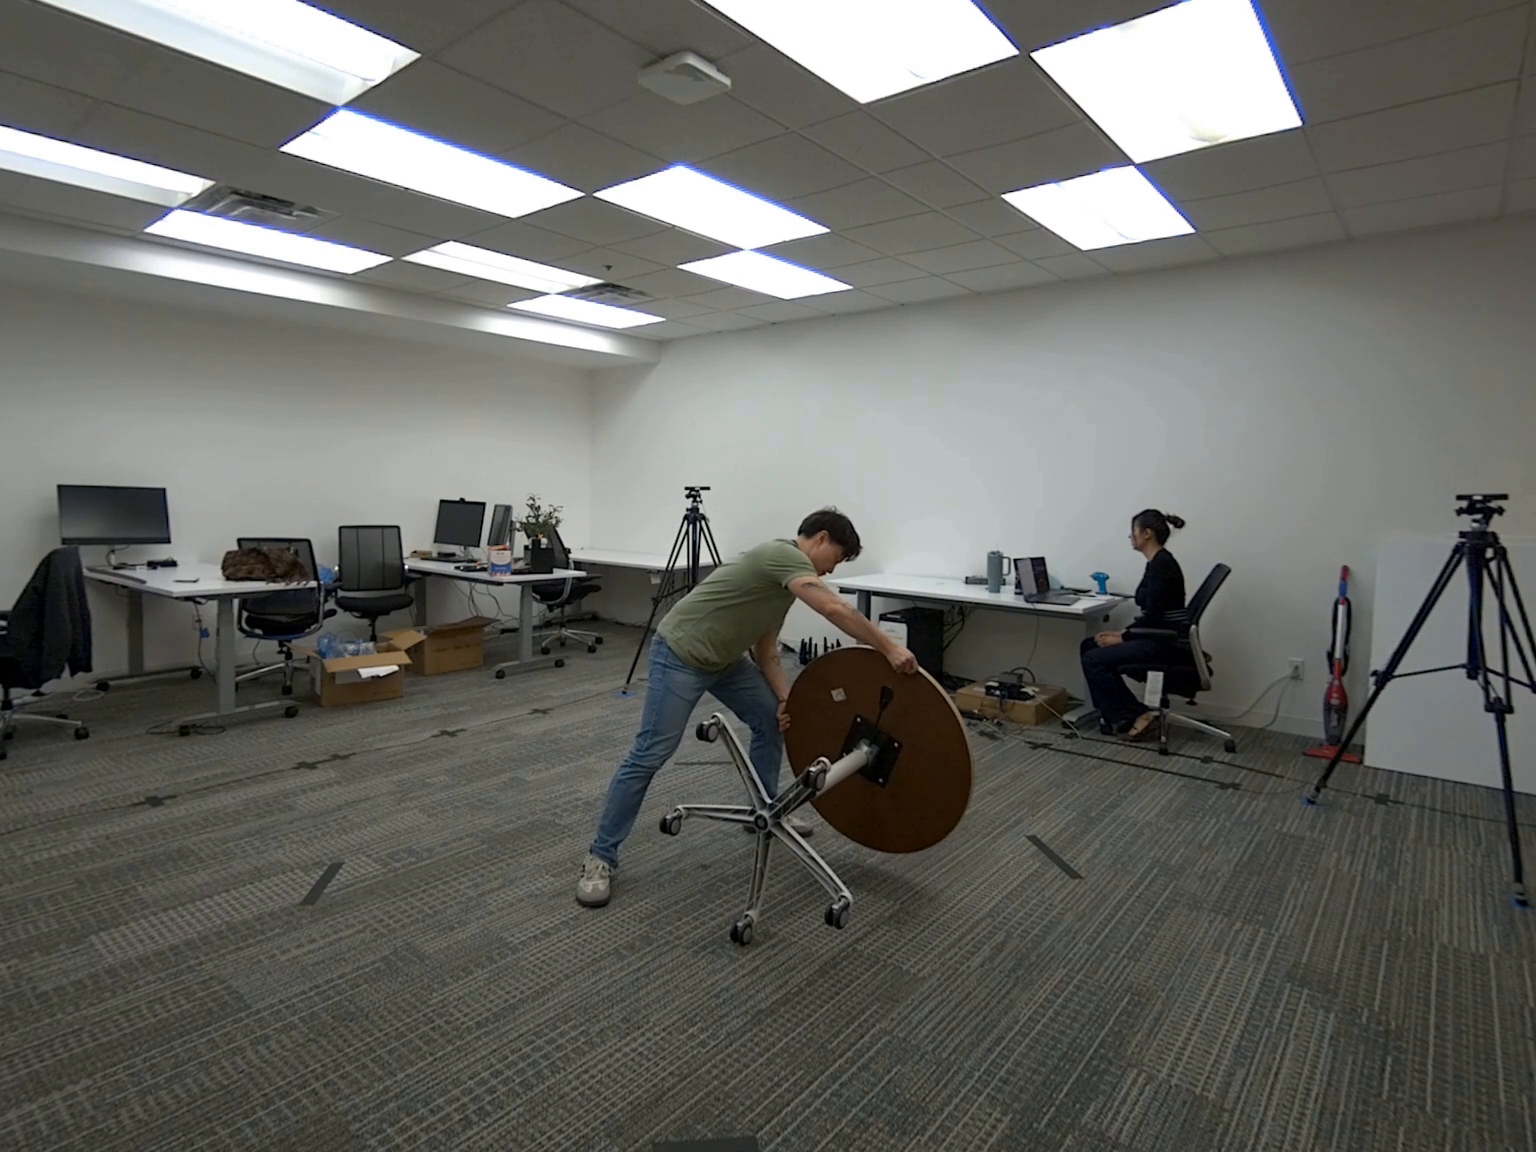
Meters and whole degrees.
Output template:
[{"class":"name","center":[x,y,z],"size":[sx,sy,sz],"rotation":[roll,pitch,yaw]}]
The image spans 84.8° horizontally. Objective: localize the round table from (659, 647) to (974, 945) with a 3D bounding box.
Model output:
[{"class":"round table","center":[0.150,0.691,2.803],"size":[0.789,0.757,0.775],"rotation":[4,11,37]}]
